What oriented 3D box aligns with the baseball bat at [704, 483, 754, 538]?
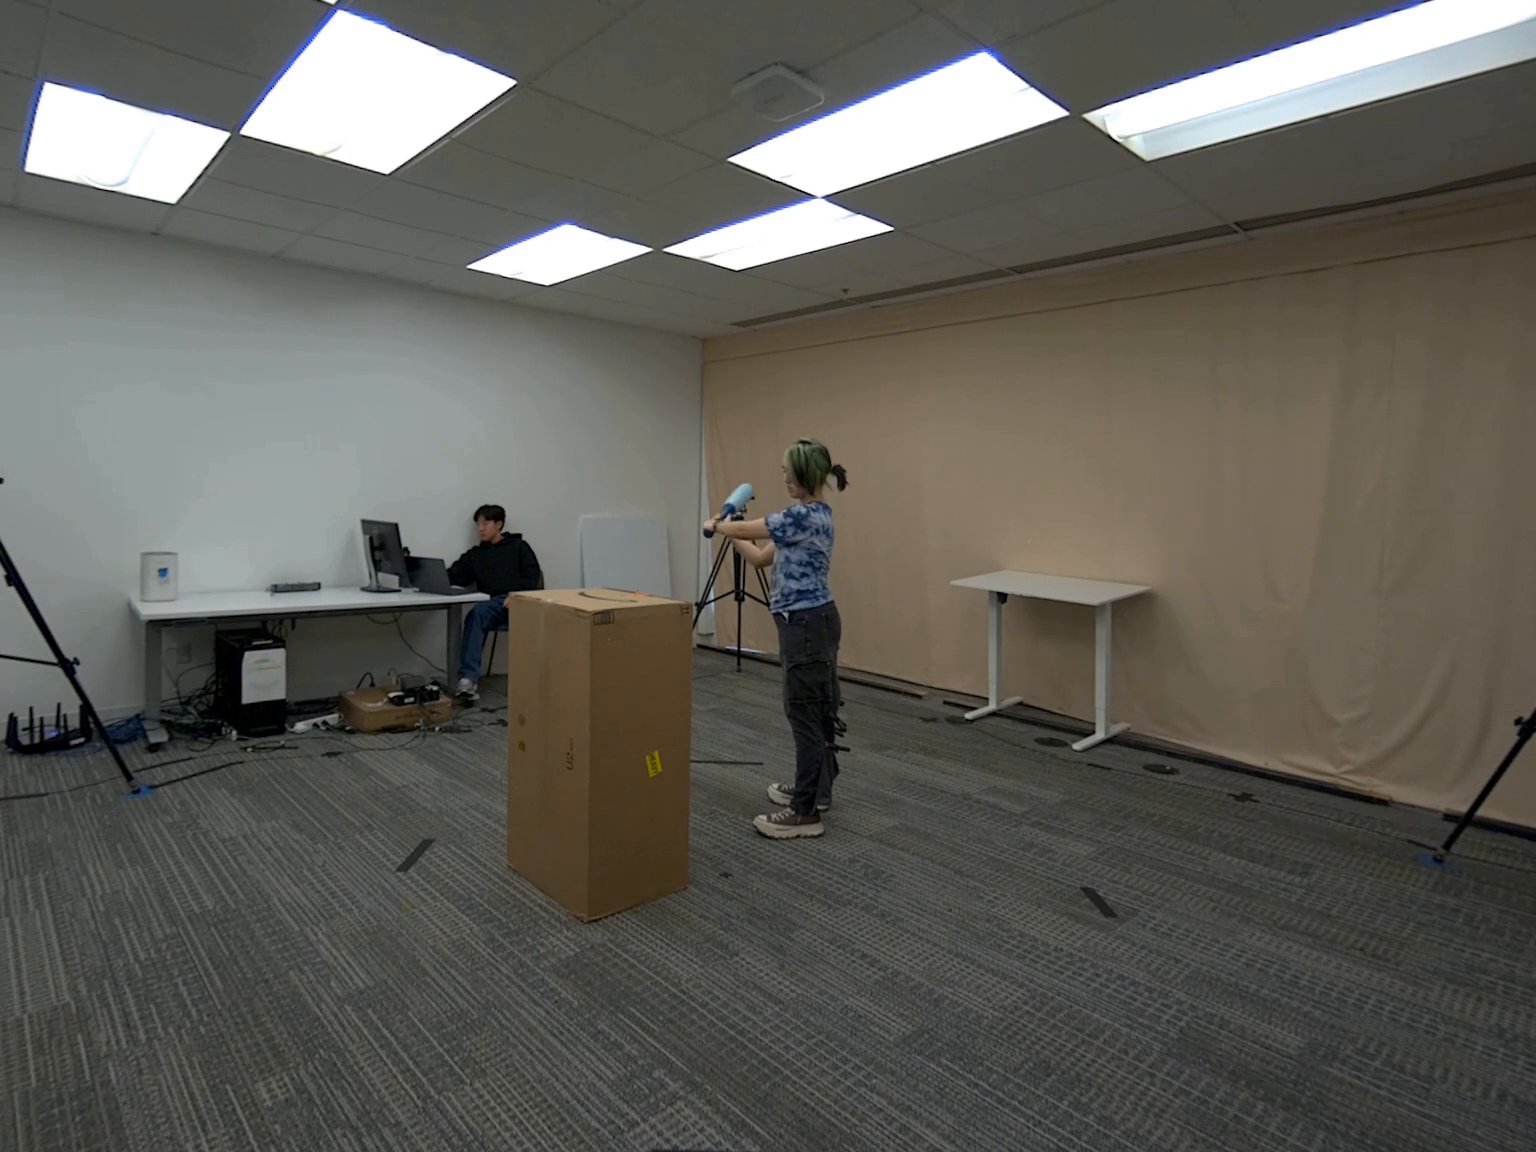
[{"bbox_3d":[-0.191,-0.298,4.041,0.090,0.087,0.544,2,28,20],"label":"baseball bat"}]
